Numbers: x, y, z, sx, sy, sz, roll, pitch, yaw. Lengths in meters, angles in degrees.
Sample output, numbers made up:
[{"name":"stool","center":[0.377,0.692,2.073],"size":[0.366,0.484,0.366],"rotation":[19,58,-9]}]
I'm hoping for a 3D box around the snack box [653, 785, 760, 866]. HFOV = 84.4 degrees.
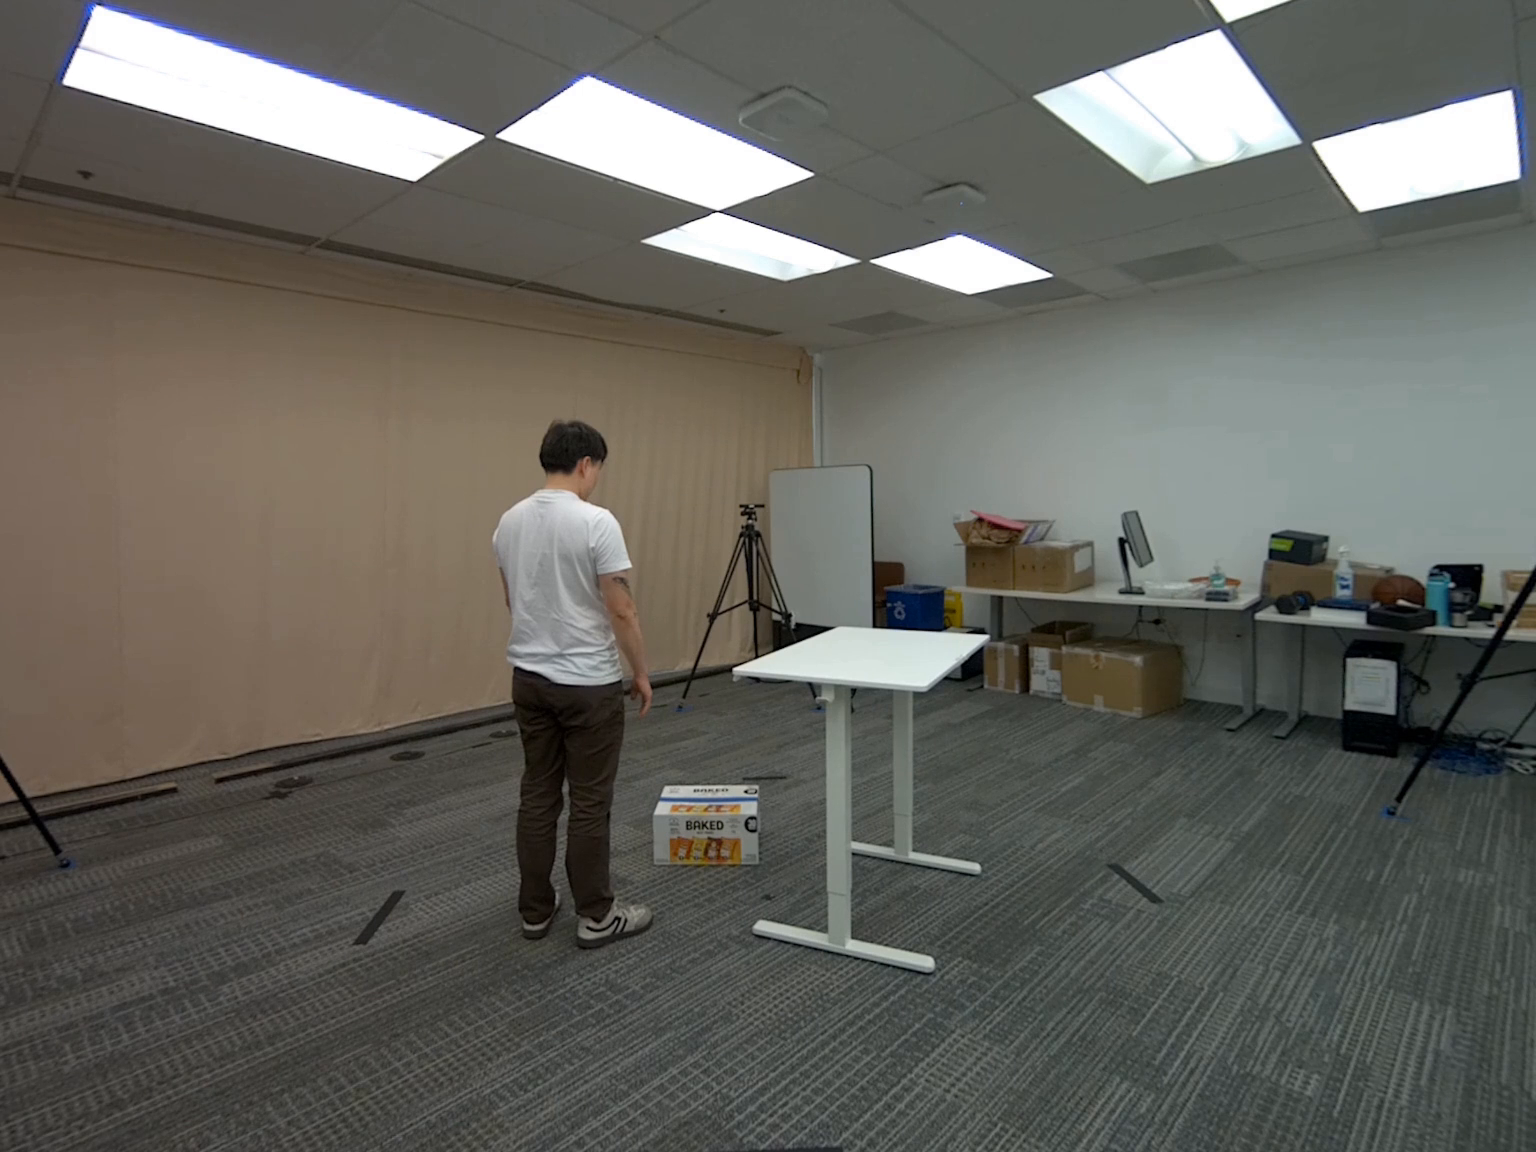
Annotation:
[{"name":"snack box","center":[-0.239,1.003,3.418],"size":[0.406,0.205,0.340],"rotation":[-1,5,2]}]
